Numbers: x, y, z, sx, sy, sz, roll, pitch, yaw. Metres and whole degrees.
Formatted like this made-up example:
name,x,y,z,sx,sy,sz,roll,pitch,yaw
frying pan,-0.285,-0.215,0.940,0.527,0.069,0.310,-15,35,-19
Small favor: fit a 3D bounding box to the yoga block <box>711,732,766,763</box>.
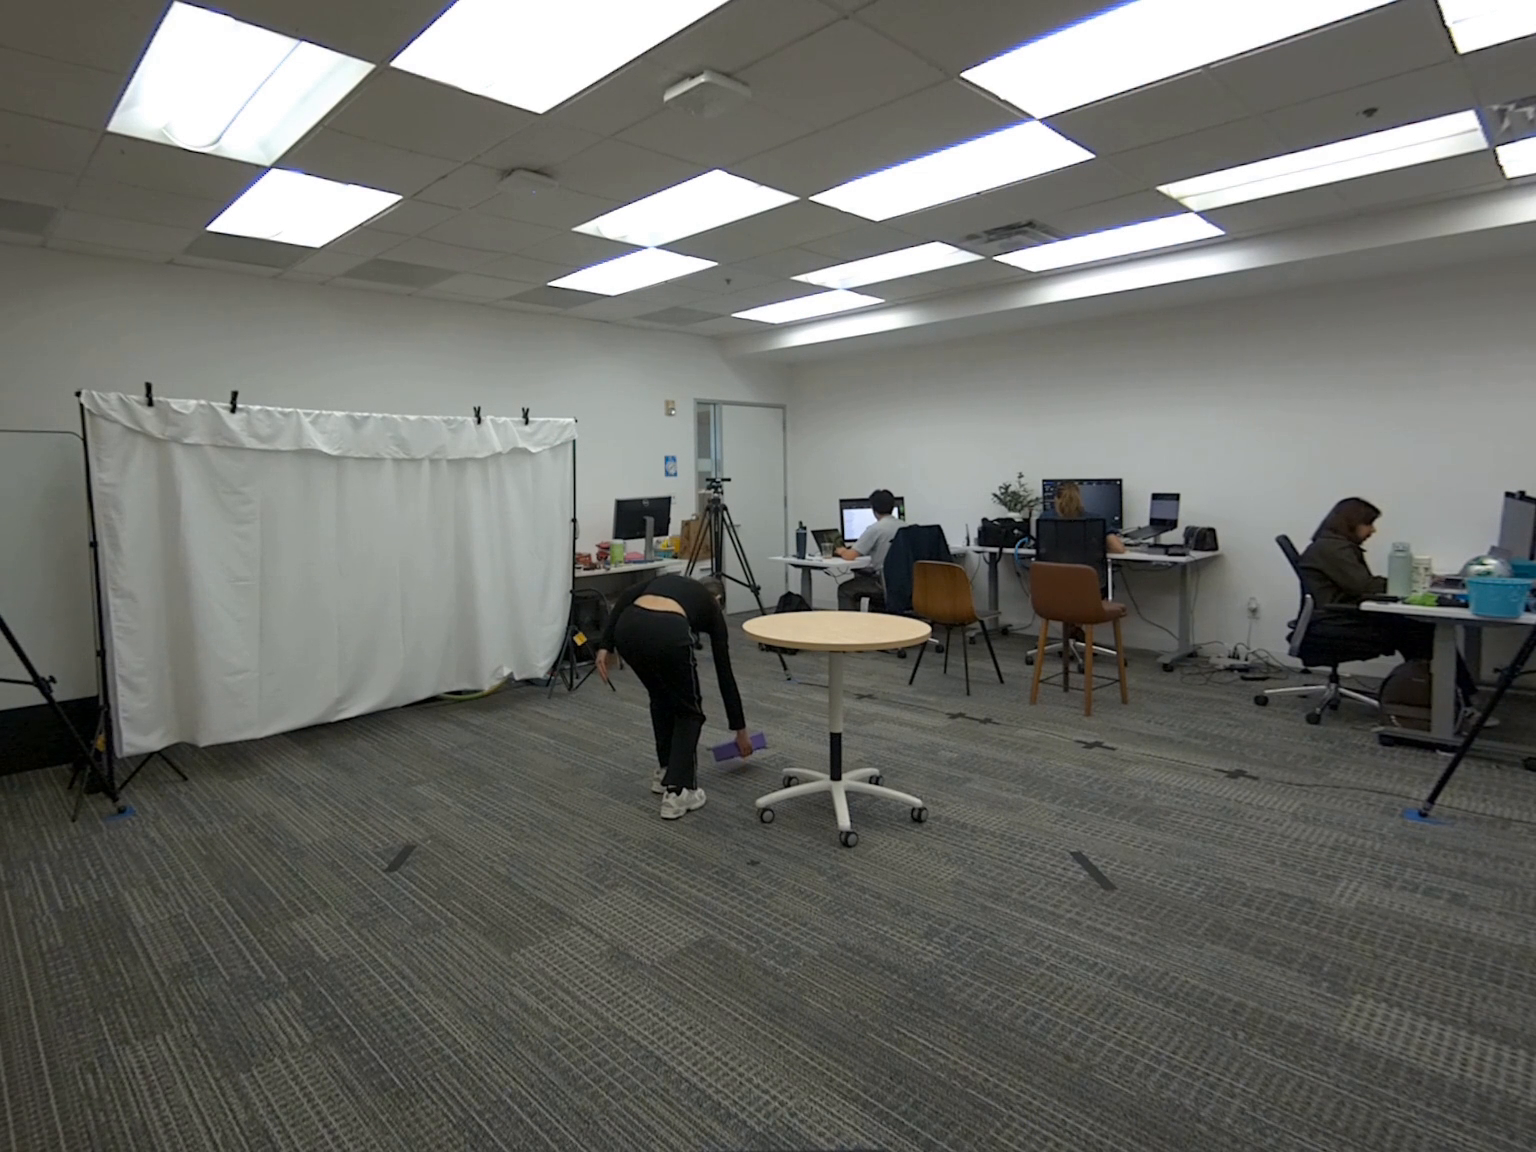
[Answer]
name,x,y,z,sx,sy,sz,roll,pitch,yaw
yoga block,-0.143,0.819,4.125,0.152,0.077,0.223,-17,-8,40
